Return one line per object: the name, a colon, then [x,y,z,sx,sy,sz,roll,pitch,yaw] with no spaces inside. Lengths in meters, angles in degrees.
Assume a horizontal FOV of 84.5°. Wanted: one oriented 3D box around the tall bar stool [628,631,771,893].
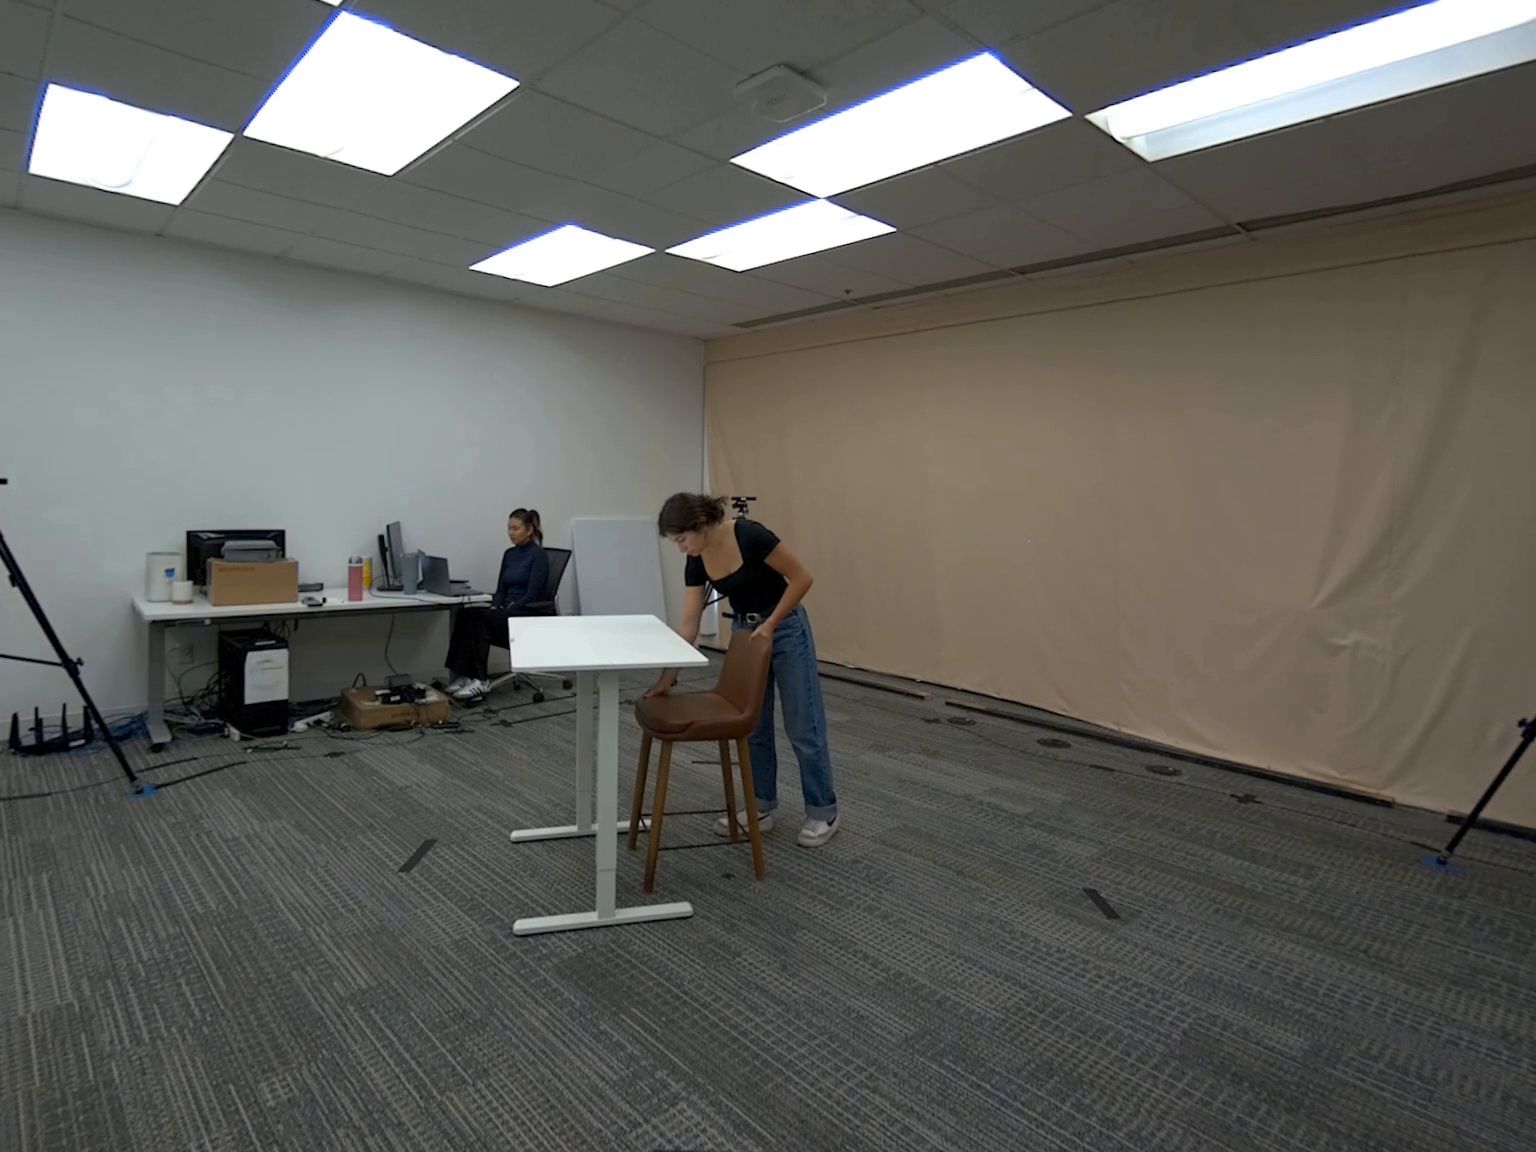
tall bar stool: [-0.268,0.664,3.171,0.461,0.888,0.463,3,3,-17]
